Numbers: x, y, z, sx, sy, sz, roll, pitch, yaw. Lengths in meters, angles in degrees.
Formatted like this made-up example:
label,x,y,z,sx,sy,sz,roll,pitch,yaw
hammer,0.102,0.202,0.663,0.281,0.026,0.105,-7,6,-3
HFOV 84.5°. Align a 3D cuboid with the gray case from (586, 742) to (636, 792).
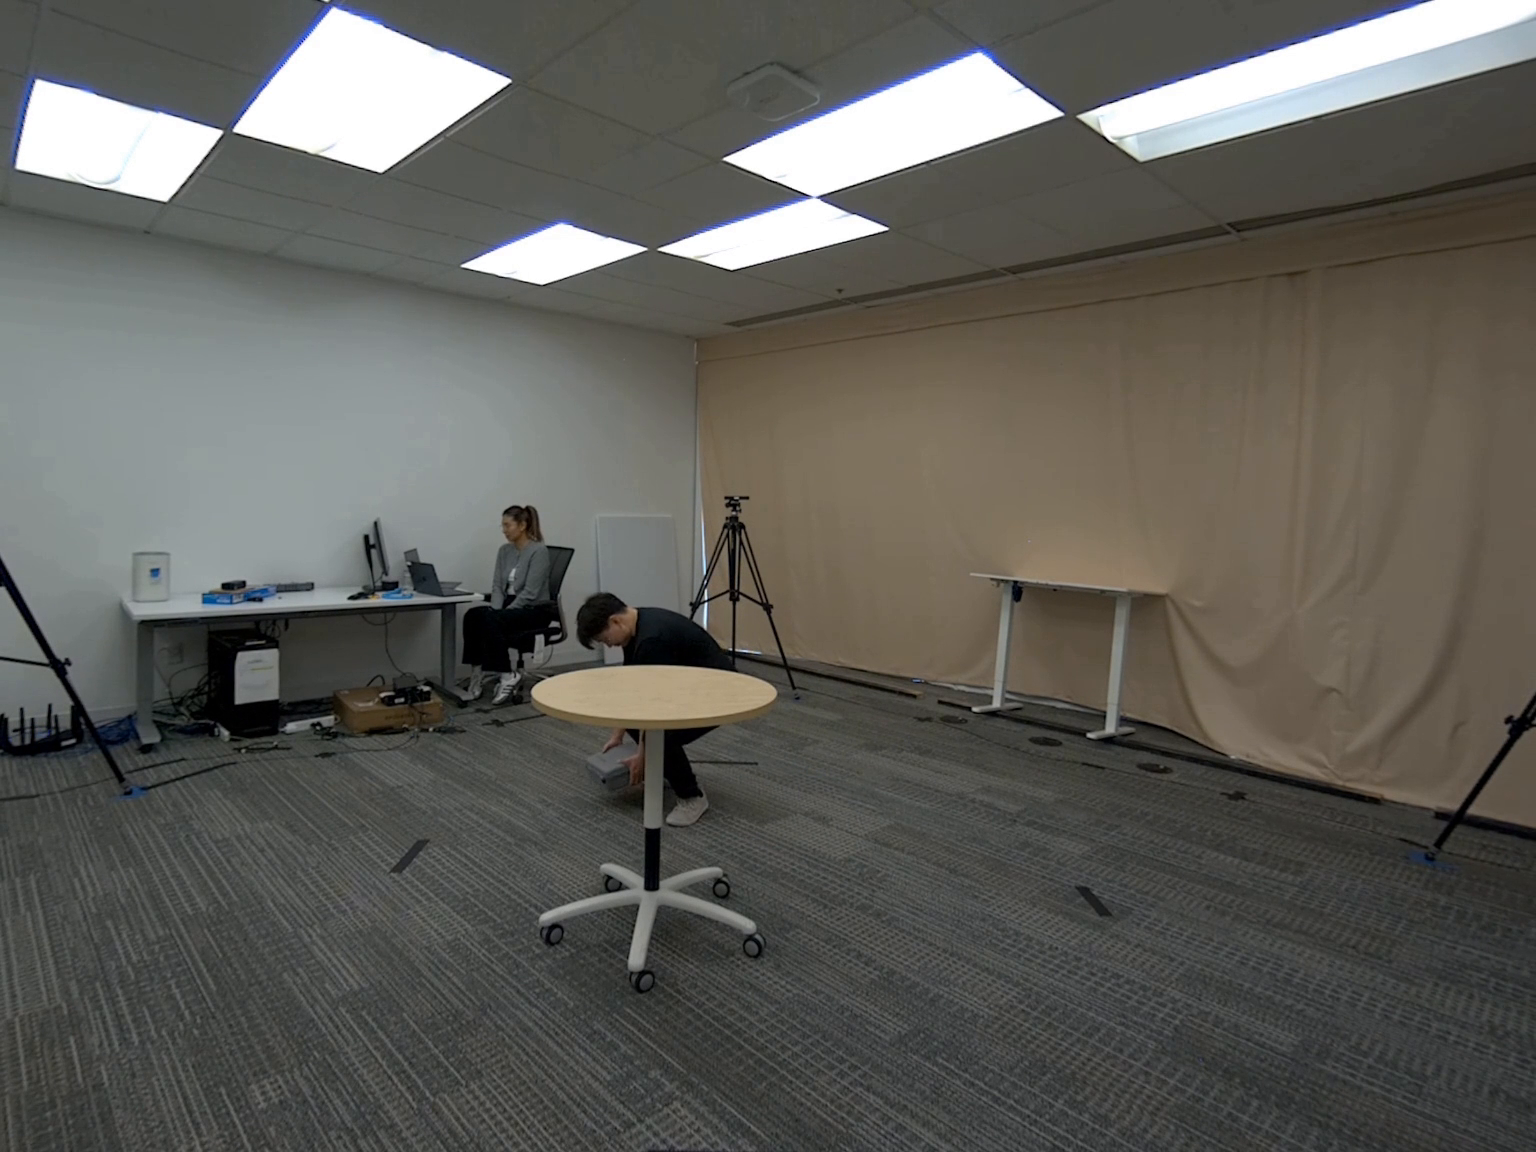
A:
label,x,y,z,sx,sy,sz,roll,pitch,yaw
gray case,-0.690,0.859,3.816,0.257,0.103,0.262,-16,10,-31
